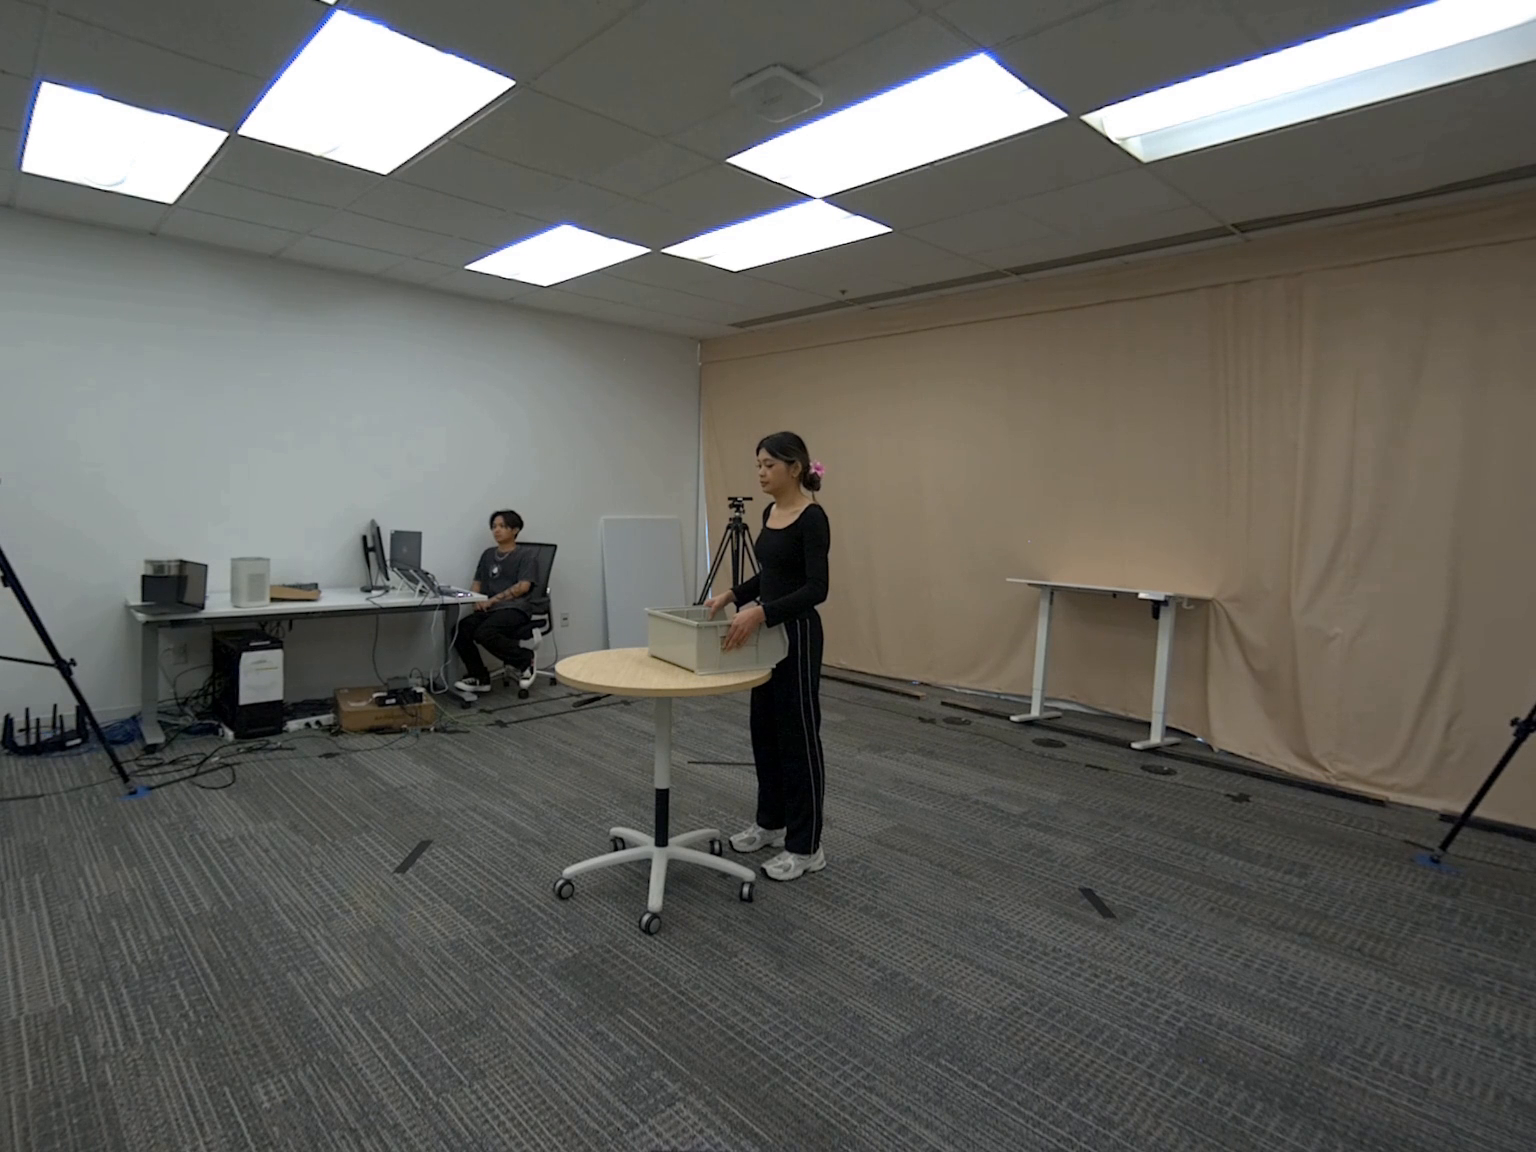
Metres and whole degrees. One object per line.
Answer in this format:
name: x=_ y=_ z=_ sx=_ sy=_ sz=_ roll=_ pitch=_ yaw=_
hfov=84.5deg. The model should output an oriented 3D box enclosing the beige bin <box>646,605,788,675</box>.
beige bin: x=-0.201 y=0.217 z=3.091 sx=0.370 sy=0.188 sz=0.432 roll=-5 pitch=8 yaw=-31
